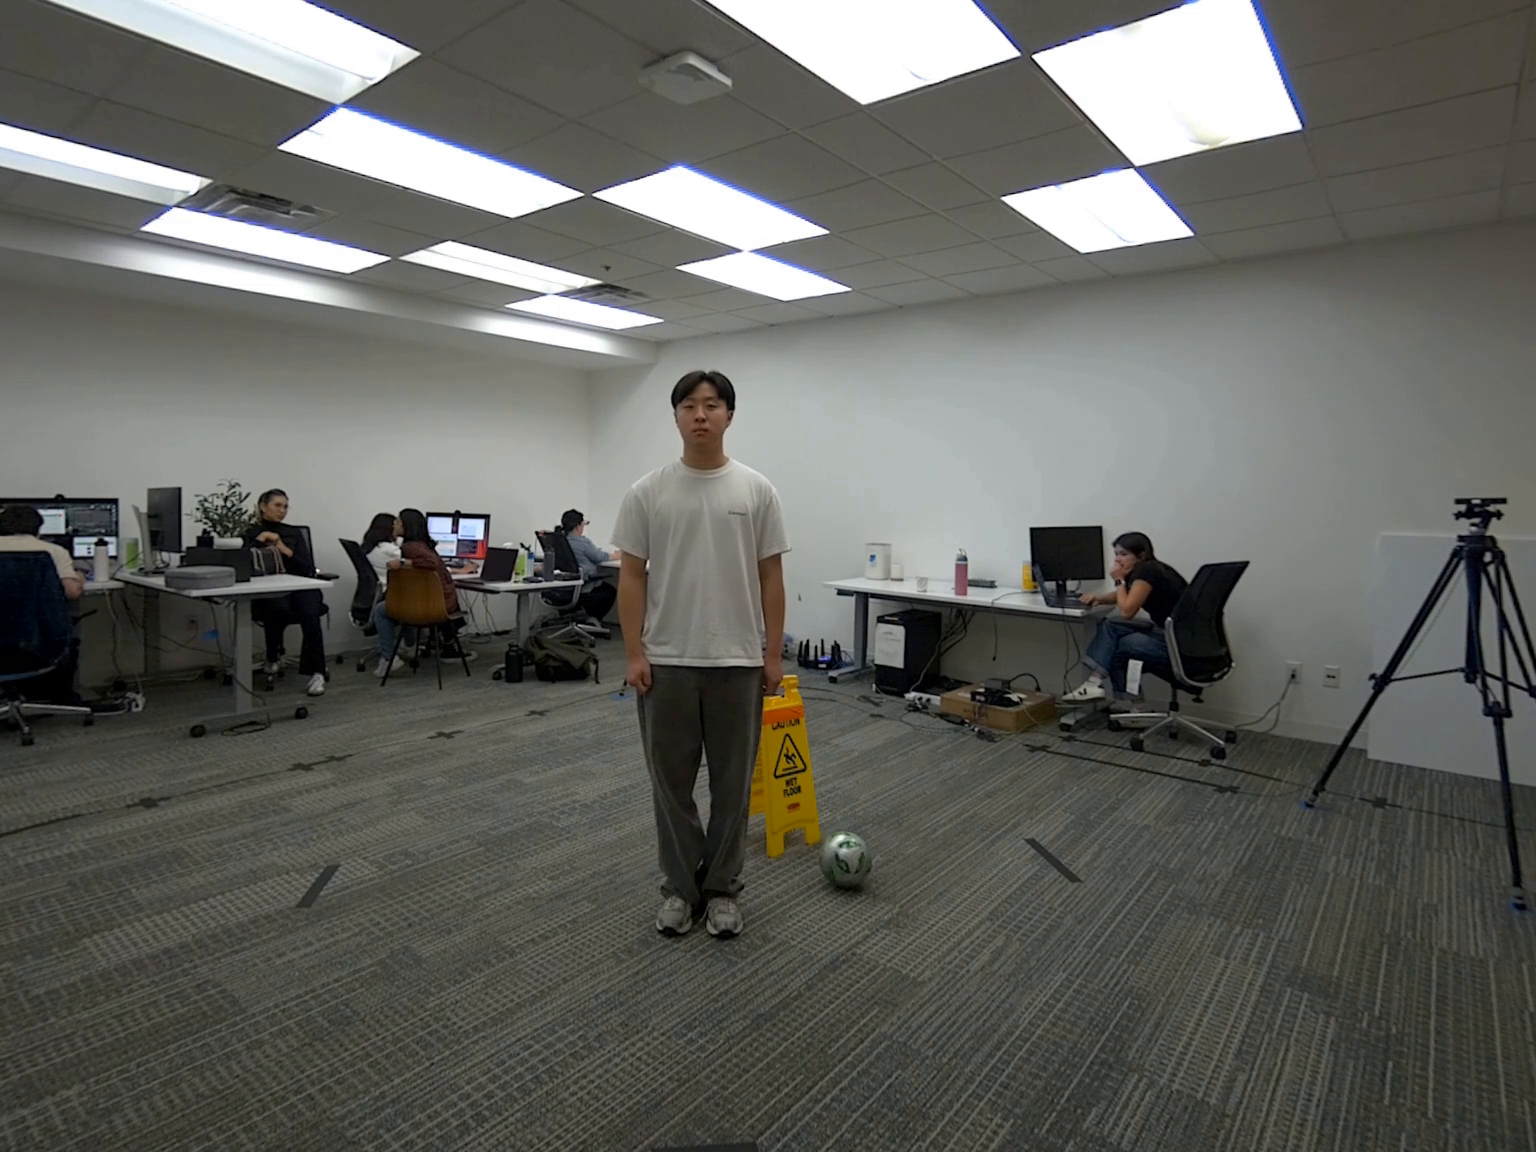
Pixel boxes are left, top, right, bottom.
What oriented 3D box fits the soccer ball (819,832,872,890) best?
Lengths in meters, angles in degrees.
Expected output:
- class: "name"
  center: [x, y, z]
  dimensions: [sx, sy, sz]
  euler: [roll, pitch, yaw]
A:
- class: "soccer ball"
  center: [0.272, 0.999, 3.010]
  dimensions: [0.187, 0.187, 0.188]
  euler: [1, 4, -2]
